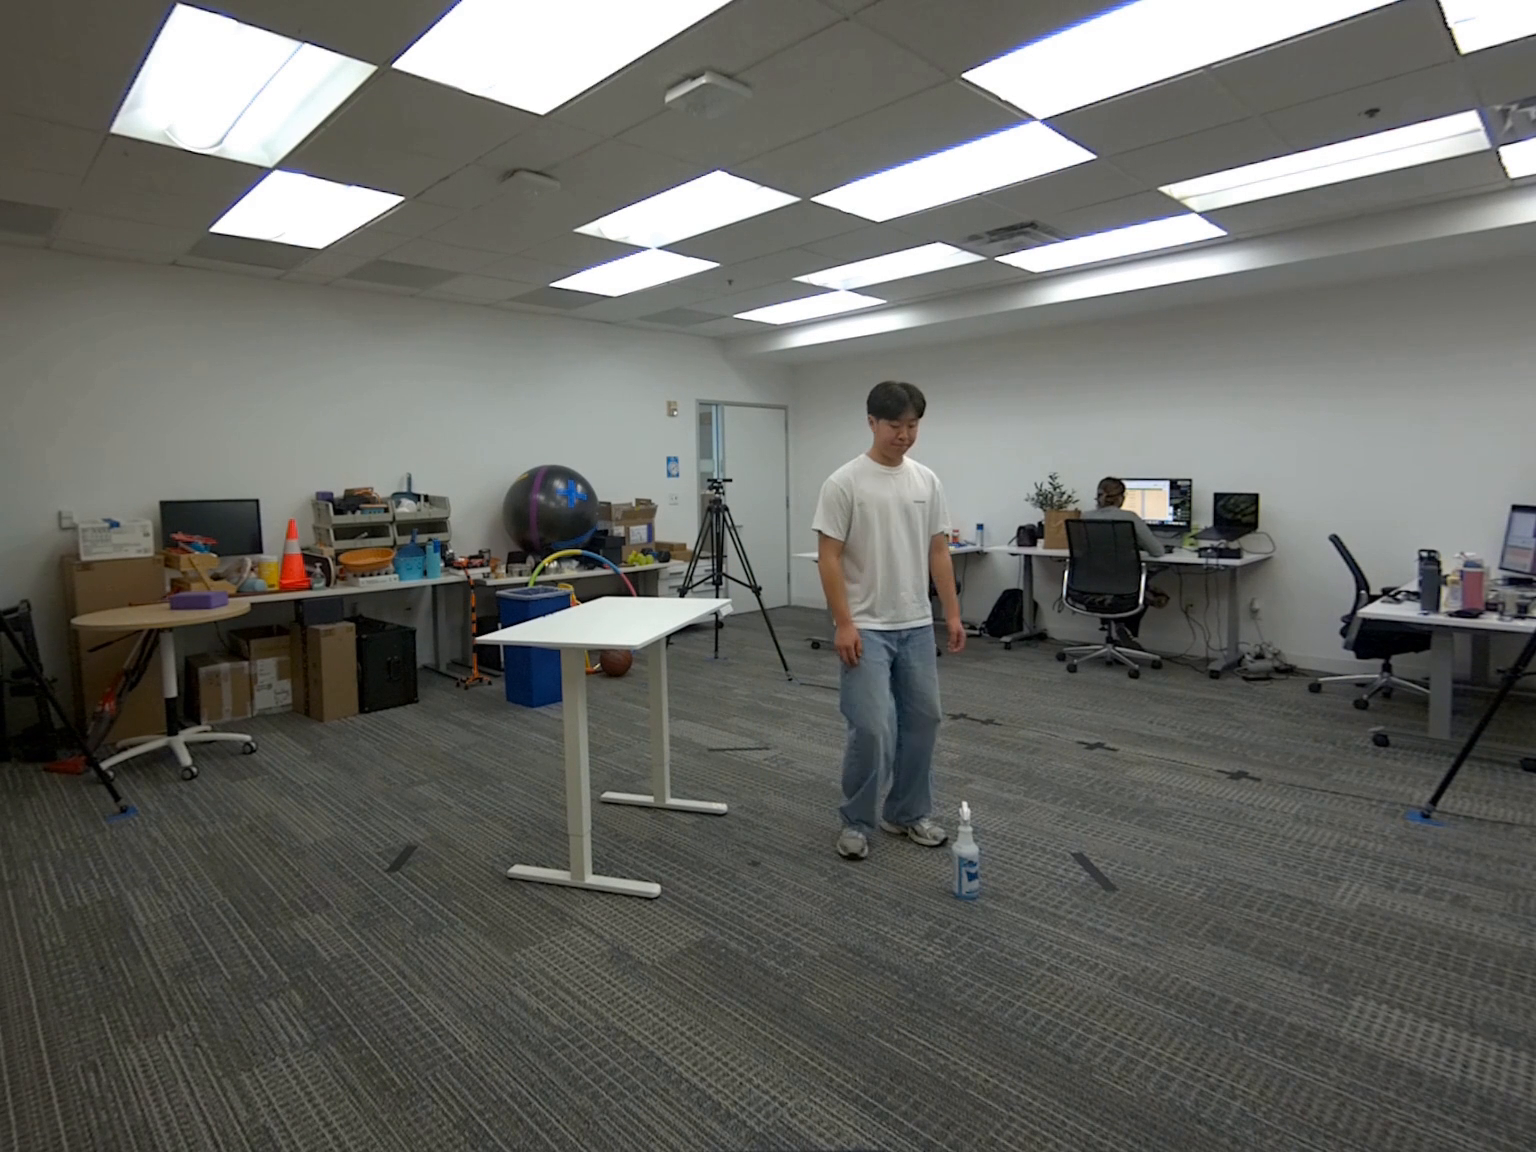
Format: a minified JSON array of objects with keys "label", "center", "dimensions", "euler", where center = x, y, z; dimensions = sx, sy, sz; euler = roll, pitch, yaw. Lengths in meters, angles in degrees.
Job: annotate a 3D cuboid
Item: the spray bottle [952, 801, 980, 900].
[{"label":"spray bottle","center":[0.650,0.915,2.853],"dimensions":[0.089,0.297,0.088],"euler":[-2,2,33]}]
